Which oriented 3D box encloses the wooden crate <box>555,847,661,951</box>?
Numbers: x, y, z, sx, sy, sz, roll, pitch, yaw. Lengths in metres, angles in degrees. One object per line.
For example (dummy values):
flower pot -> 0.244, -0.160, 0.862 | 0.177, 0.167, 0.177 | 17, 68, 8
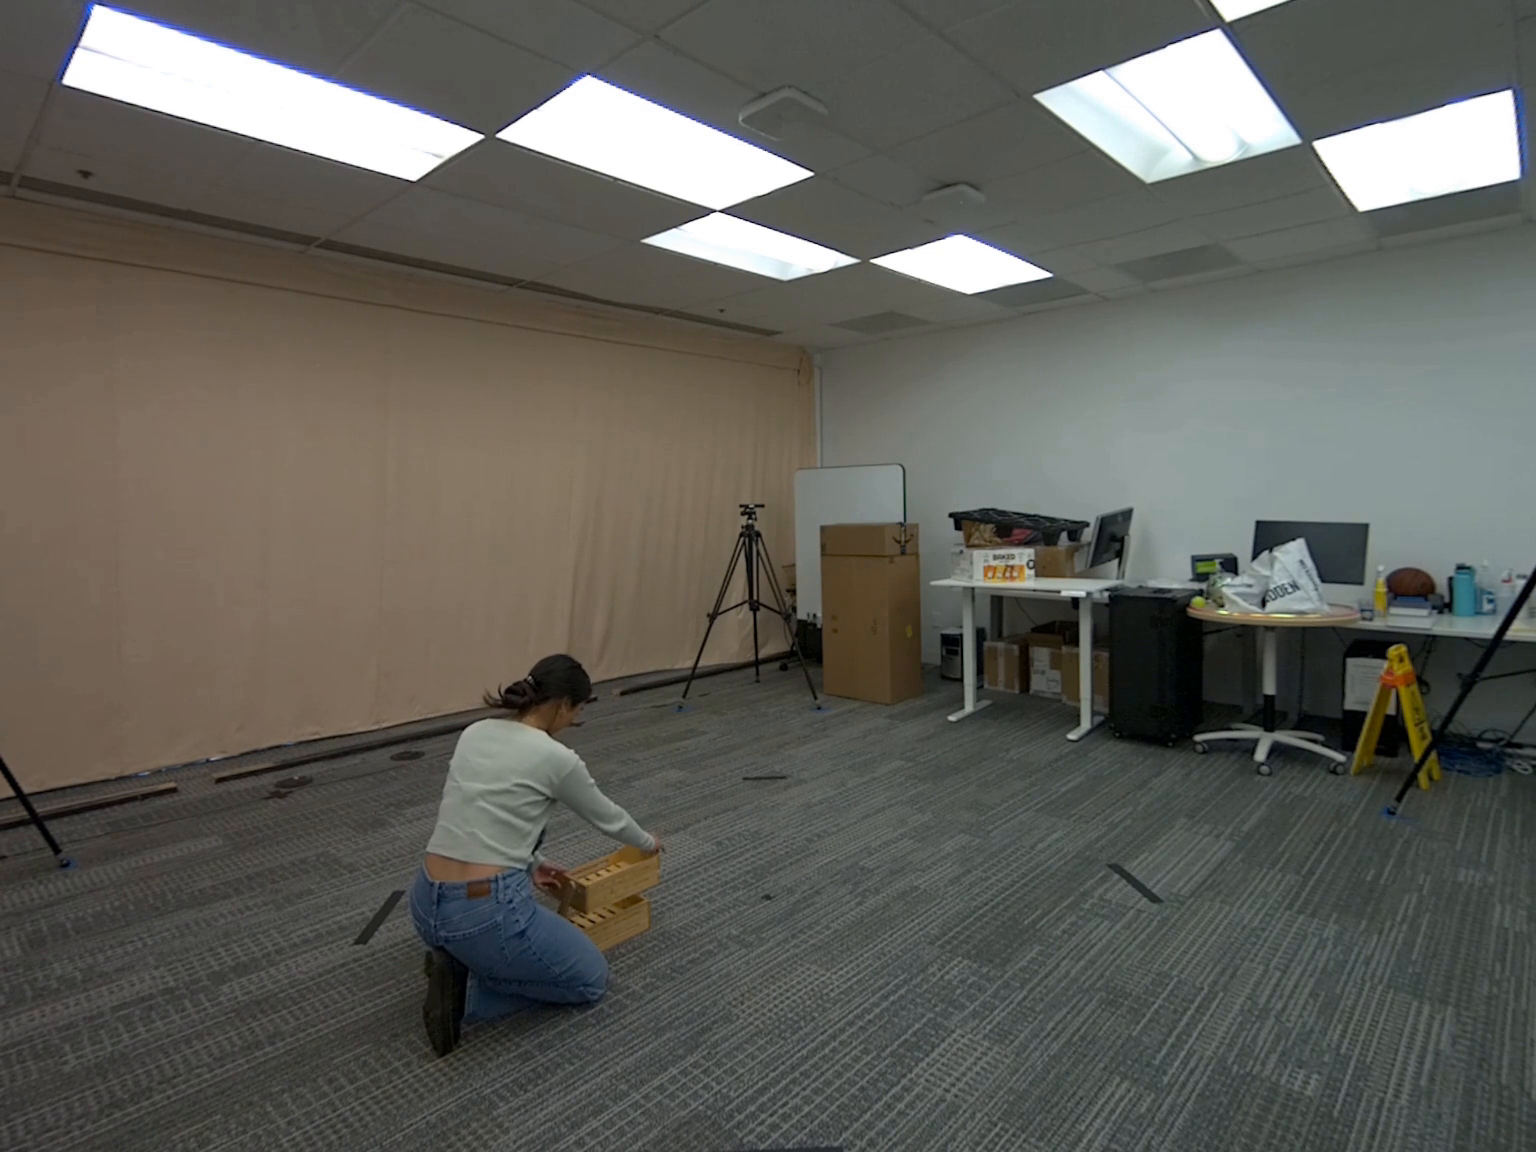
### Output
wooden crate -> -0.562, 1.039, 2.743 | 0.312, 0.272, 0.315 | 4, 6, 42
